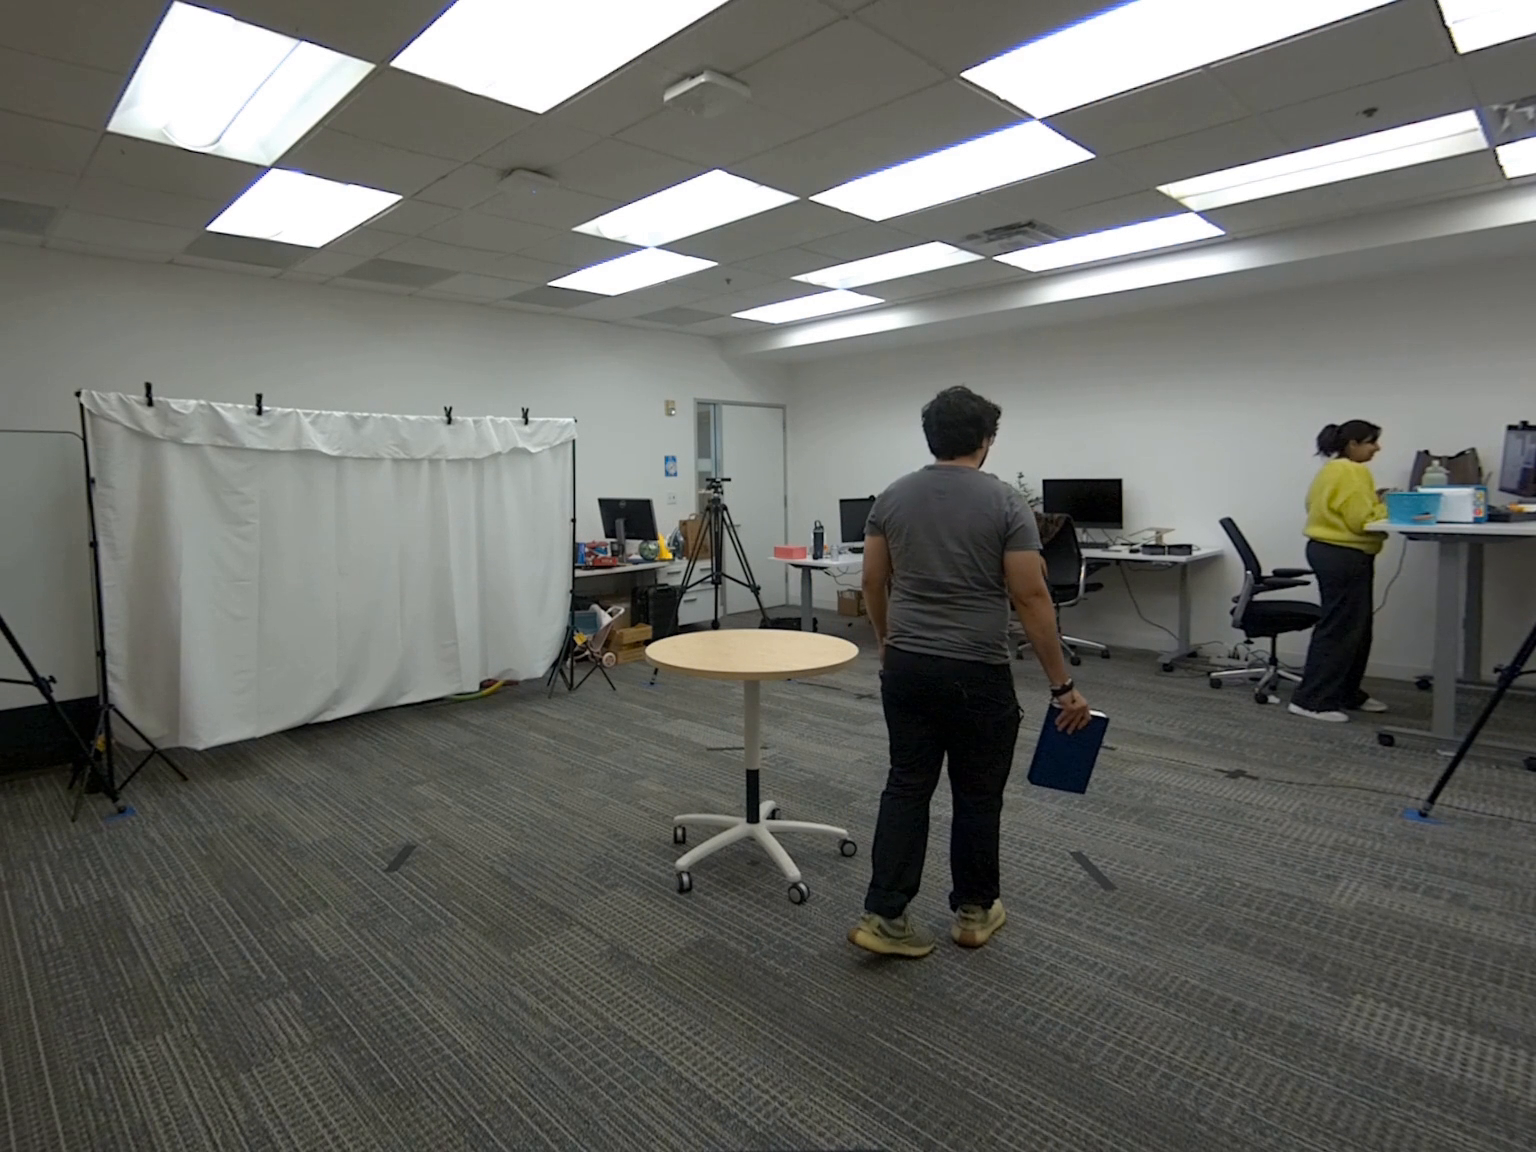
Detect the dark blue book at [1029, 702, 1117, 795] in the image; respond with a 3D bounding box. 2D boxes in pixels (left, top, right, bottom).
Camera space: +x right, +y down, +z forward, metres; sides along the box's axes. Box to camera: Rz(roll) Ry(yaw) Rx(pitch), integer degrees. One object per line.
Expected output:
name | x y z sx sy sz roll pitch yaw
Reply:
dark blue book | 0.867 0.489 2.447 0.162 0.243 0.046 11 13 -5
